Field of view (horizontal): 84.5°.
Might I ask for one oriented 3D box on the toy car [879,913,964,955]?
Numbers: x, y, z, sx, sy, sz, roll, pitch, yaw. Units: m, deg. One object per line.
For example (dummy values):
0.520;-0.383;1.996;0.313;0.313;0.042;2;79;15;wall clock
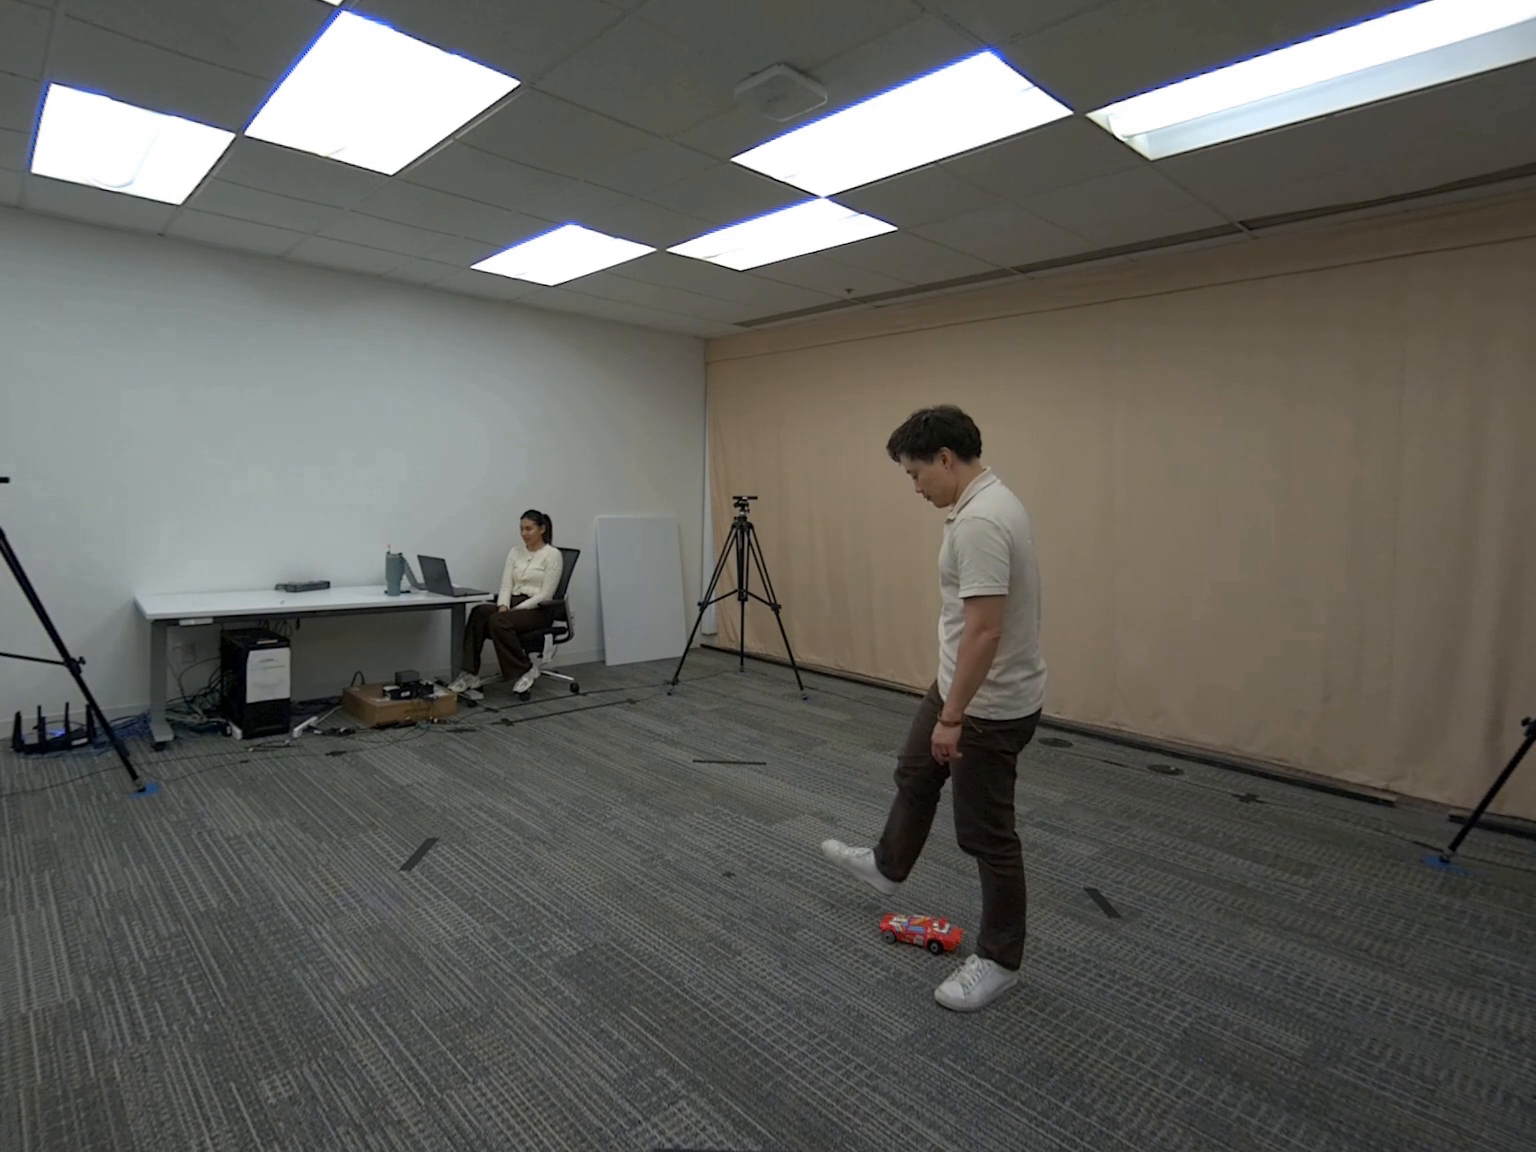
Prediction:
0.482;1.131;2.654;0.258;0.083;0.128;-8;1;24;toy car
